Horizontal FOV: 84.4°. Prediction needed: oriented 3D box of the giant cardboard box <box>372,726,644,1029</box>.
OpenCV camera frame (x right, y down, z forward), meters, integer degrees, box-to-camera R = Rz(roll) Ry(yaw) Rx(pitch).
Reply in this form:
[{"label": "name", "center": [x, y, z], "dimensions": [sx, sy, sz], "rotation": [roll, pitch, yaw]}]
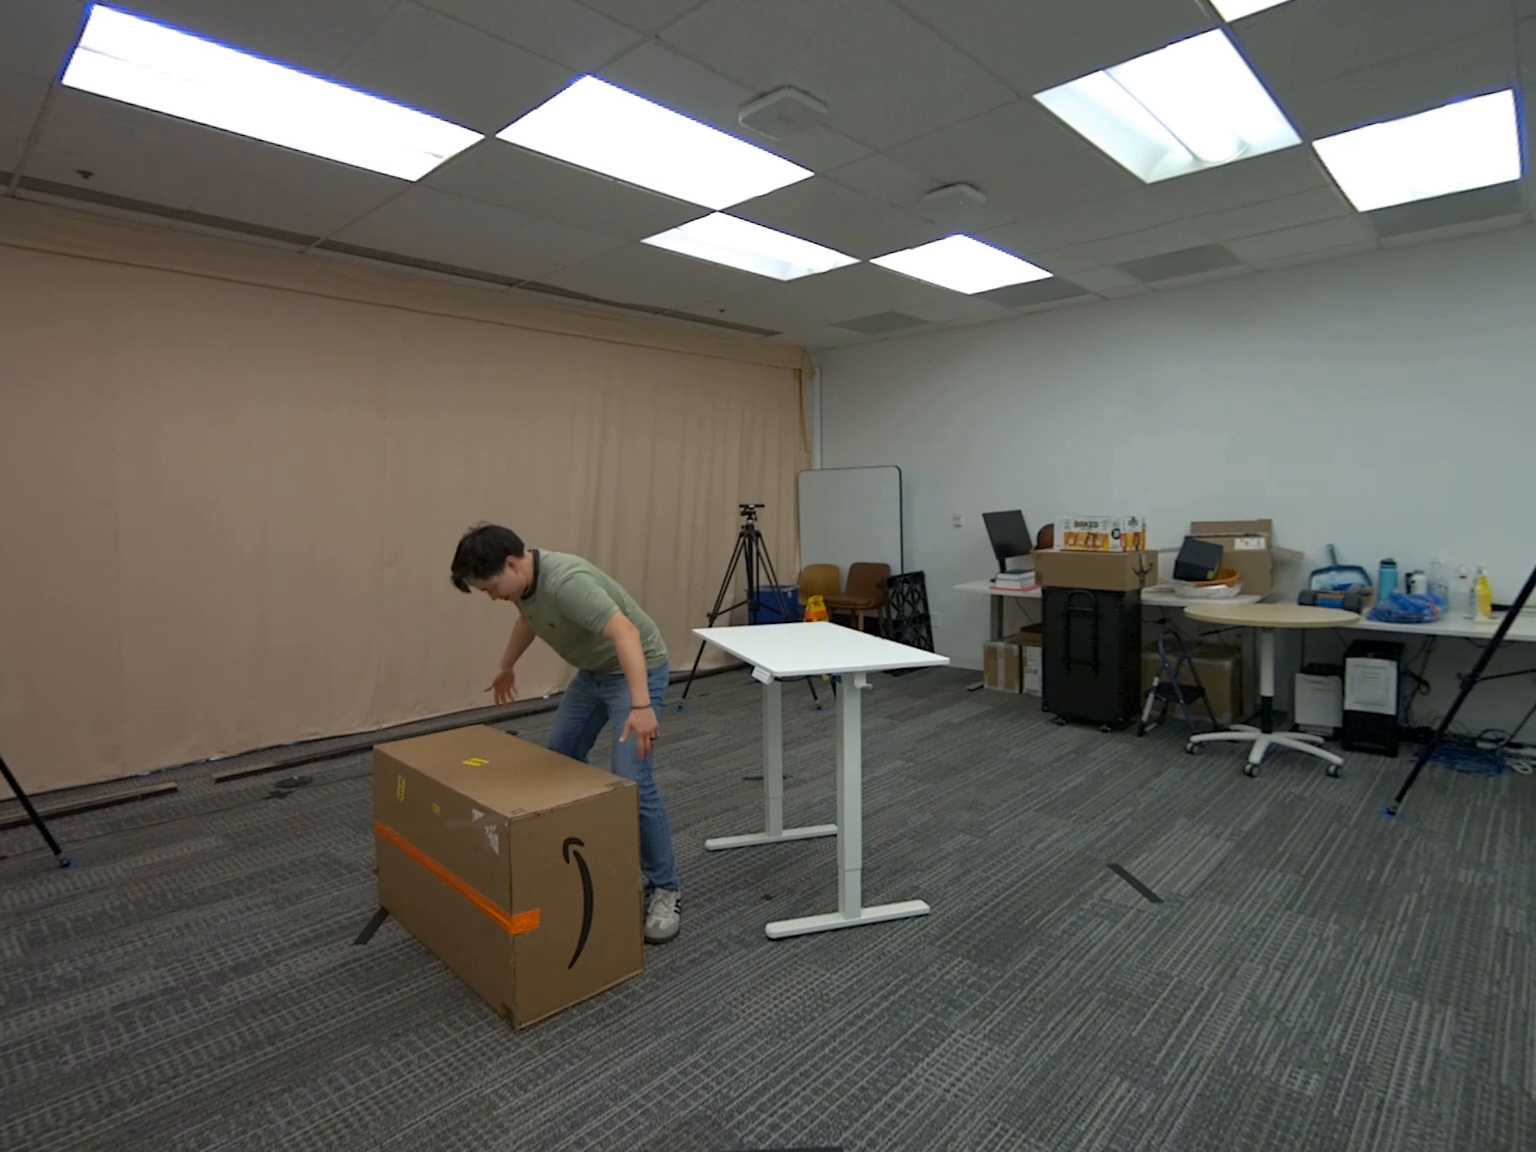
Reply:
[{"label": "giant cardboard box", "center": [-0.891, 0.895, 2.745], "dimensions": [0.413, 0.576, 1.060], "rotation": [-3, 4, -43]}]
